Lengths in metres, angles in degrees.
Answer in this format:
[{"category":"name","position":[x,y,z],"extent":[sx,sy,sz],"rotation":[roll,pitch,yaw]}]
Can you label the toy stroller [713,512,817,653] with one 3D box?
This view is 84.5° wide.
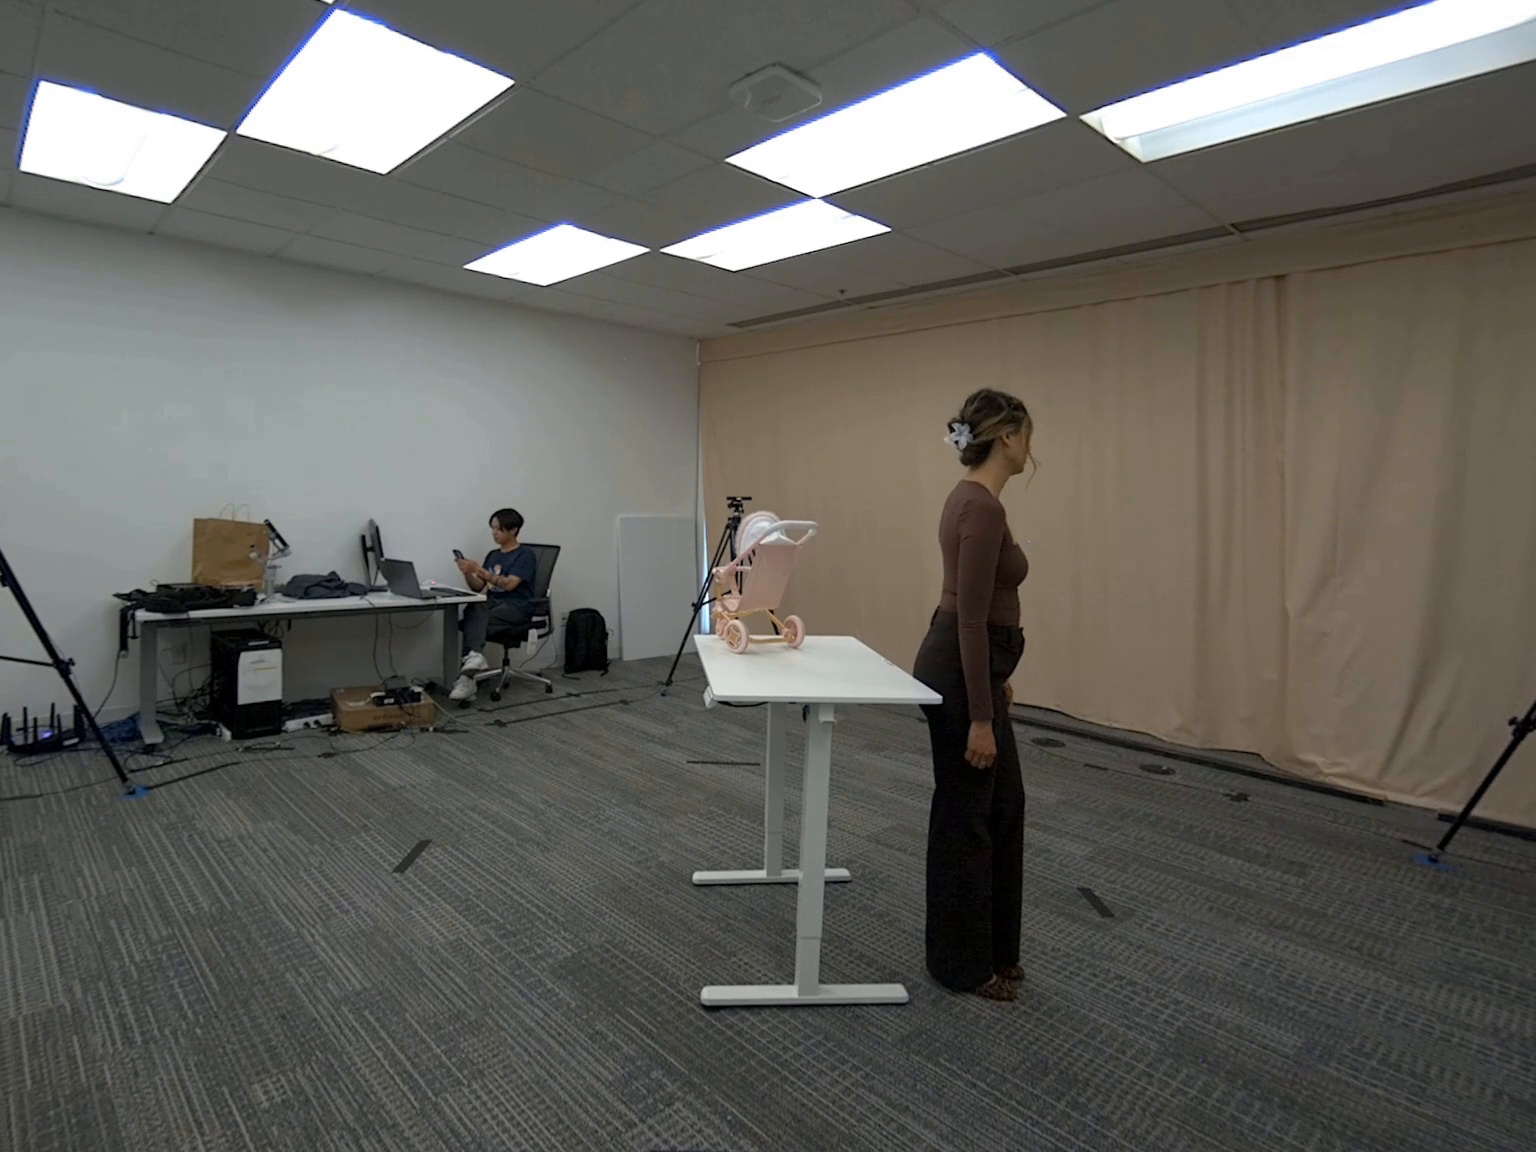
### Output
[{"category":"toy stroller","position":[-0.042,0.020,2.878],"extent":[0.275,0.530,0.352],"rotation":[0,19,-35]}]
